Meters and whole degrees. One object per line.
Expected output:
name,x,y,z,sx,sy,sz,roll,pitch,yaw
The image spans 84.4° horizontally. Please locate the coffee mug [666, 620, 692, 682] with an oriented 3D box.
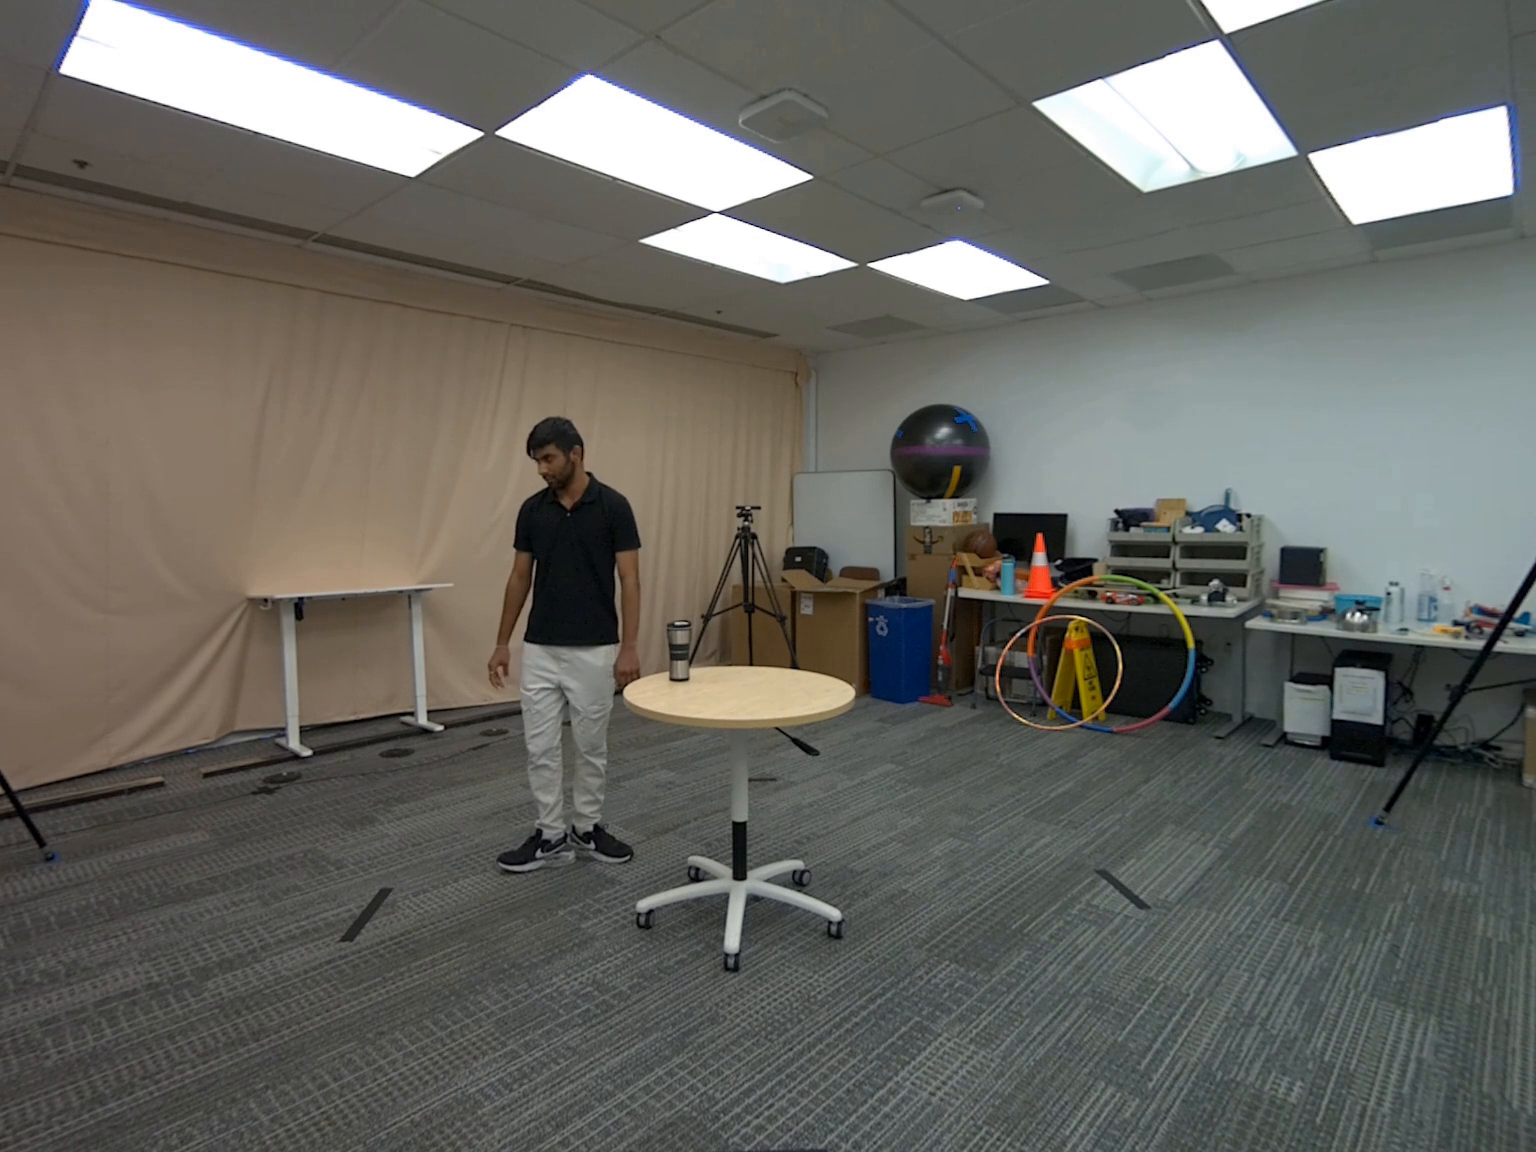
coffee mug,-0.292,0.264,2.958,0.090,0.202,0.119,0,6,34
